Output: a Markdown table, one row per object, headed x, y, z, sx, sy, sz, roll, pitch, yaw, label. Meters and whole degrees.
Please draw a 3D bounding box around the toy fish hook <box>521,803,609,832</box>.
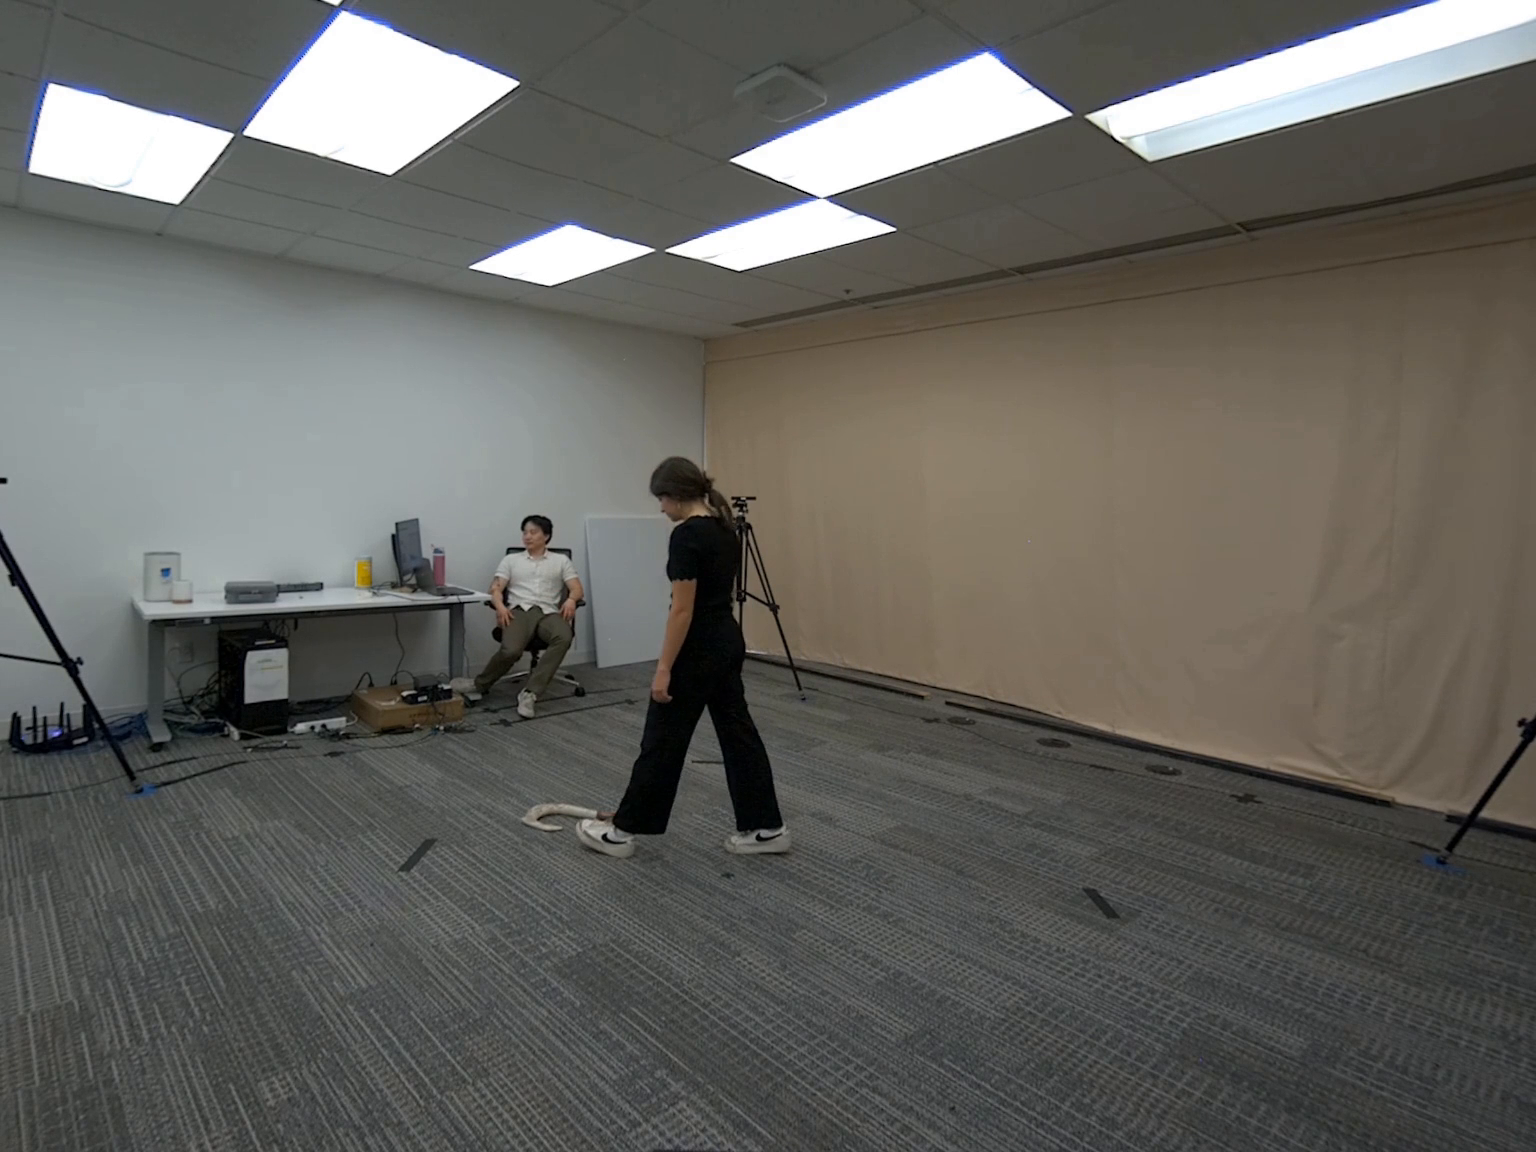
| x | y | z | sx | sy | sz | roll | pitch | yaw | label |
| --- | --- | --- | --- | --- | --- | --- | --- | --- | --- |
| -0.792 | 1.033 | 3.563 | 0.510 | 0.048 | 0.225 | 1 | 13 | 8 | toy fish hook |
